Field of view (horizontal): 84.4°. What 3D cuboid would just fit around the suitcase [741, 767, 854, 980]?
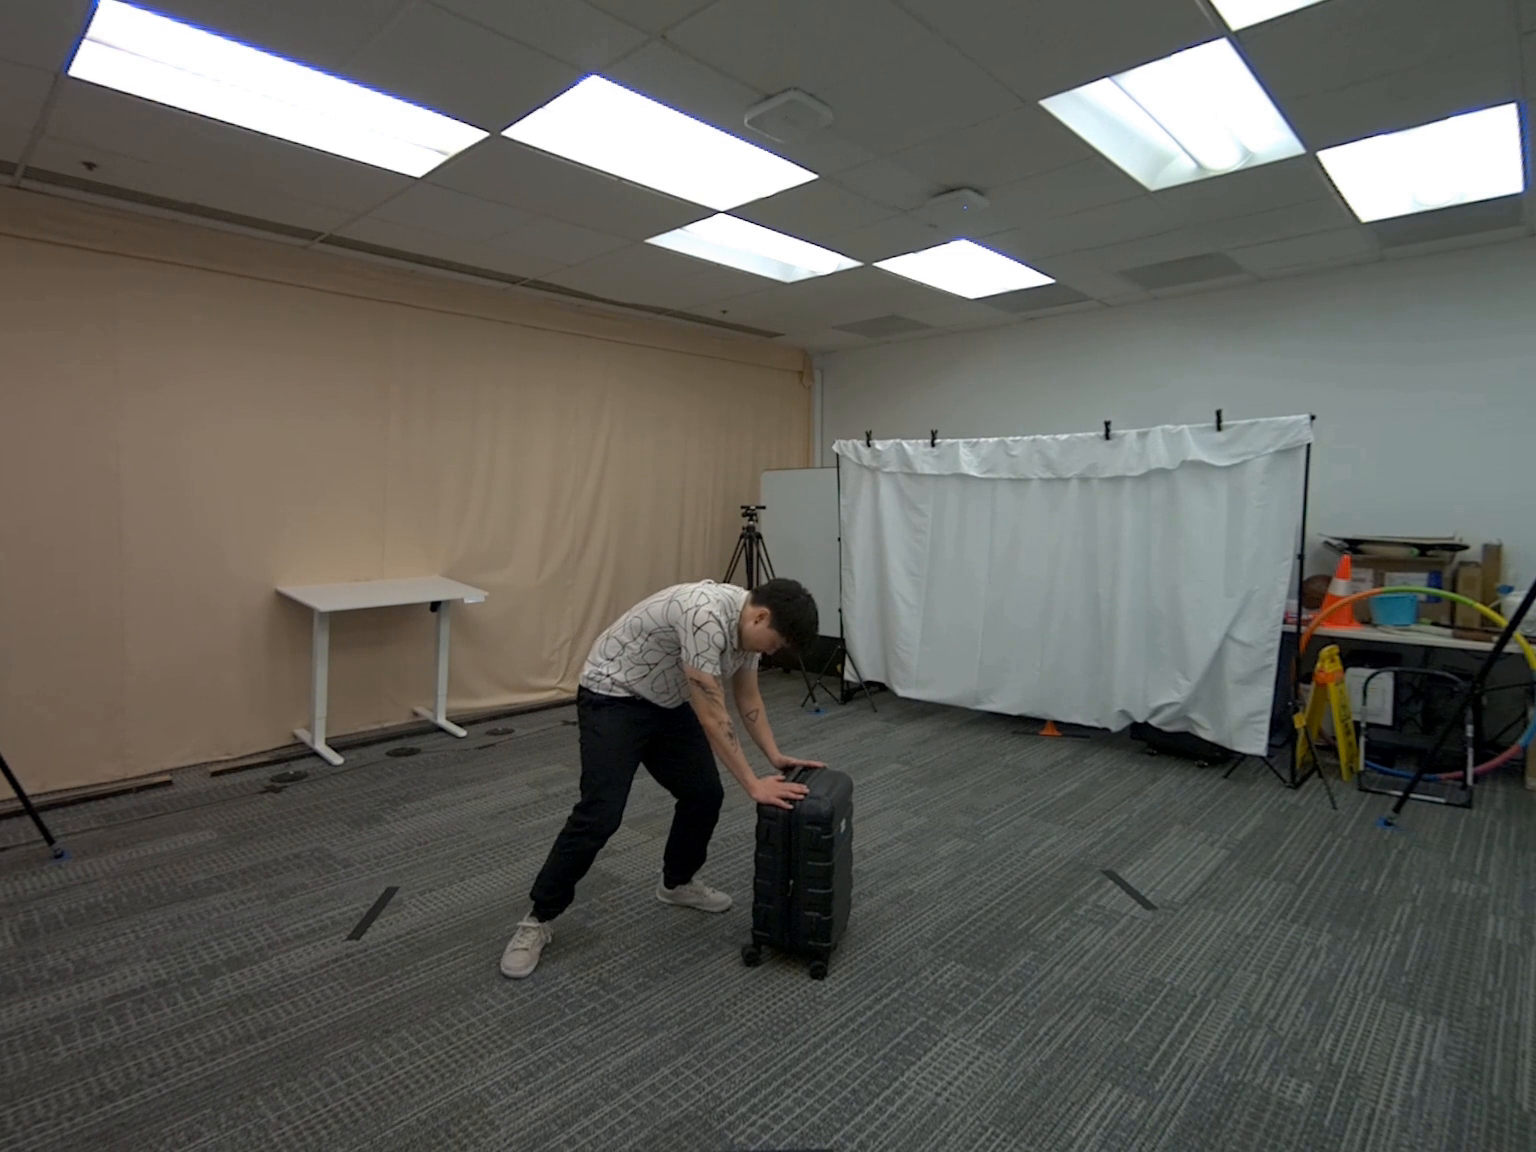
[{"bbox_3d":[0.118,0.900,2.641,0.253,0.548,0.368,3,4,18],"label":"suitcase"}]
